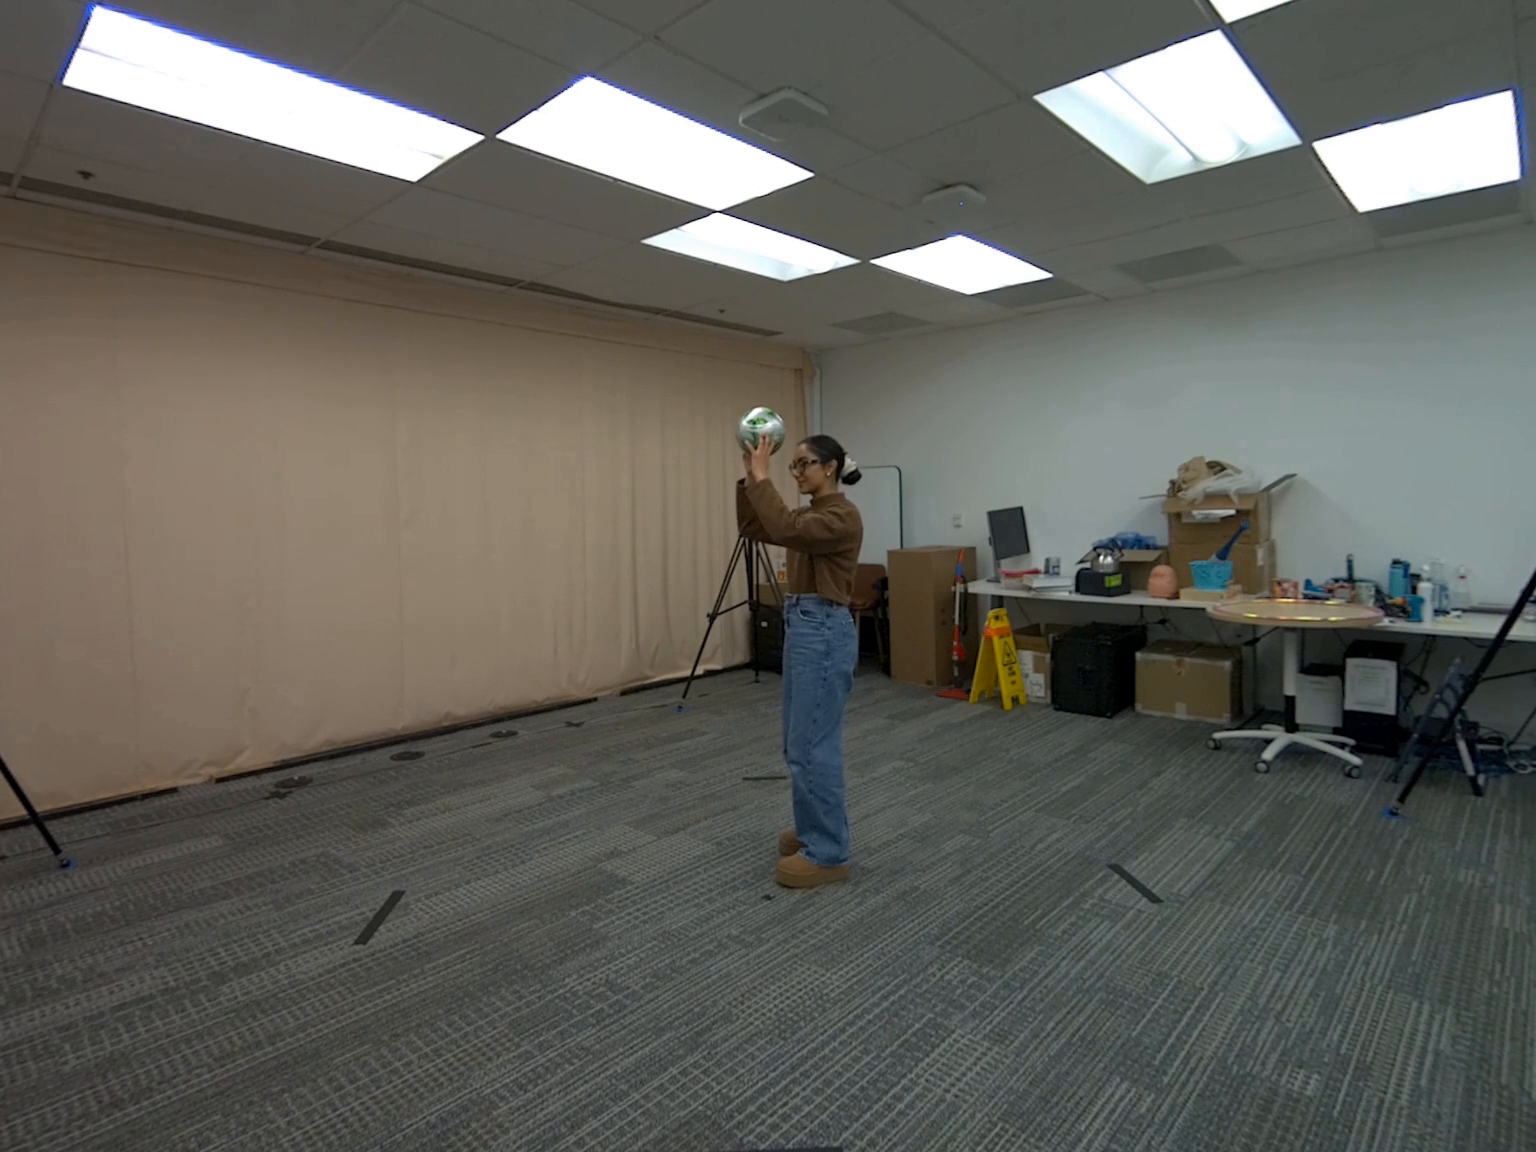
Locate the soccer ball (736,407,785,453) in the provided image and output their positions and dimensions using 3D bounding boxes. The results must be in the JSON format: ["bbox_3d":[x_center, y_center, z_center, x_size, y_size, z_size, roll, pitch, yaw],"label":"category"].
[{"bbox_3d":[-0.023,-0.531,3.158,0.187,0.187,0.188,-1,4,-2],"label":"soccer ball"}]
